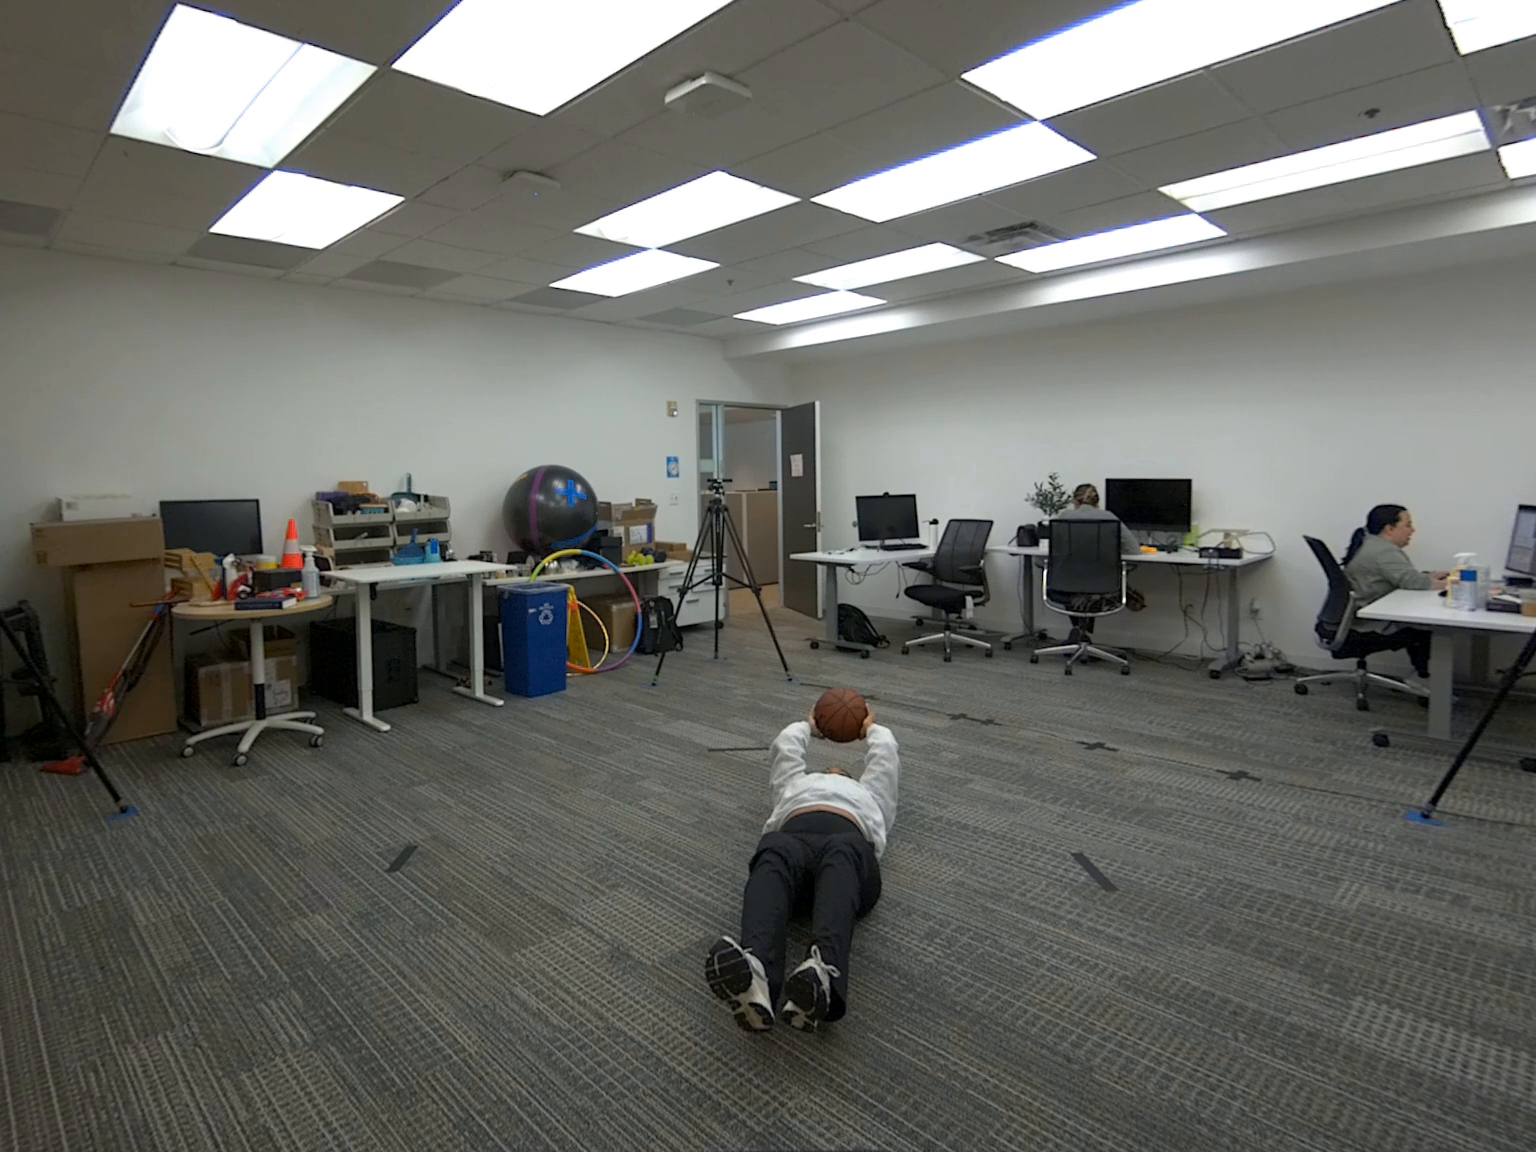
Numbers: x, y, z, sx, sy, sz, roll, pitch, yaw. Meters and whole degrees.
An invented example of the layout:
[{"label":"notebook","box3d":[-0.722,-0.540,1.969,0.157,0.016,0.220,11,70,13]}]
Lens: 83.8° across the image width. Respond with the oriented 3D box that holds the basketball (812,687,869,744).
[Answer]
[{"label":"basketball","box3d":[0.324,0.596,3.696,0.236,0.235,0.237,-1,4,-2]}]
